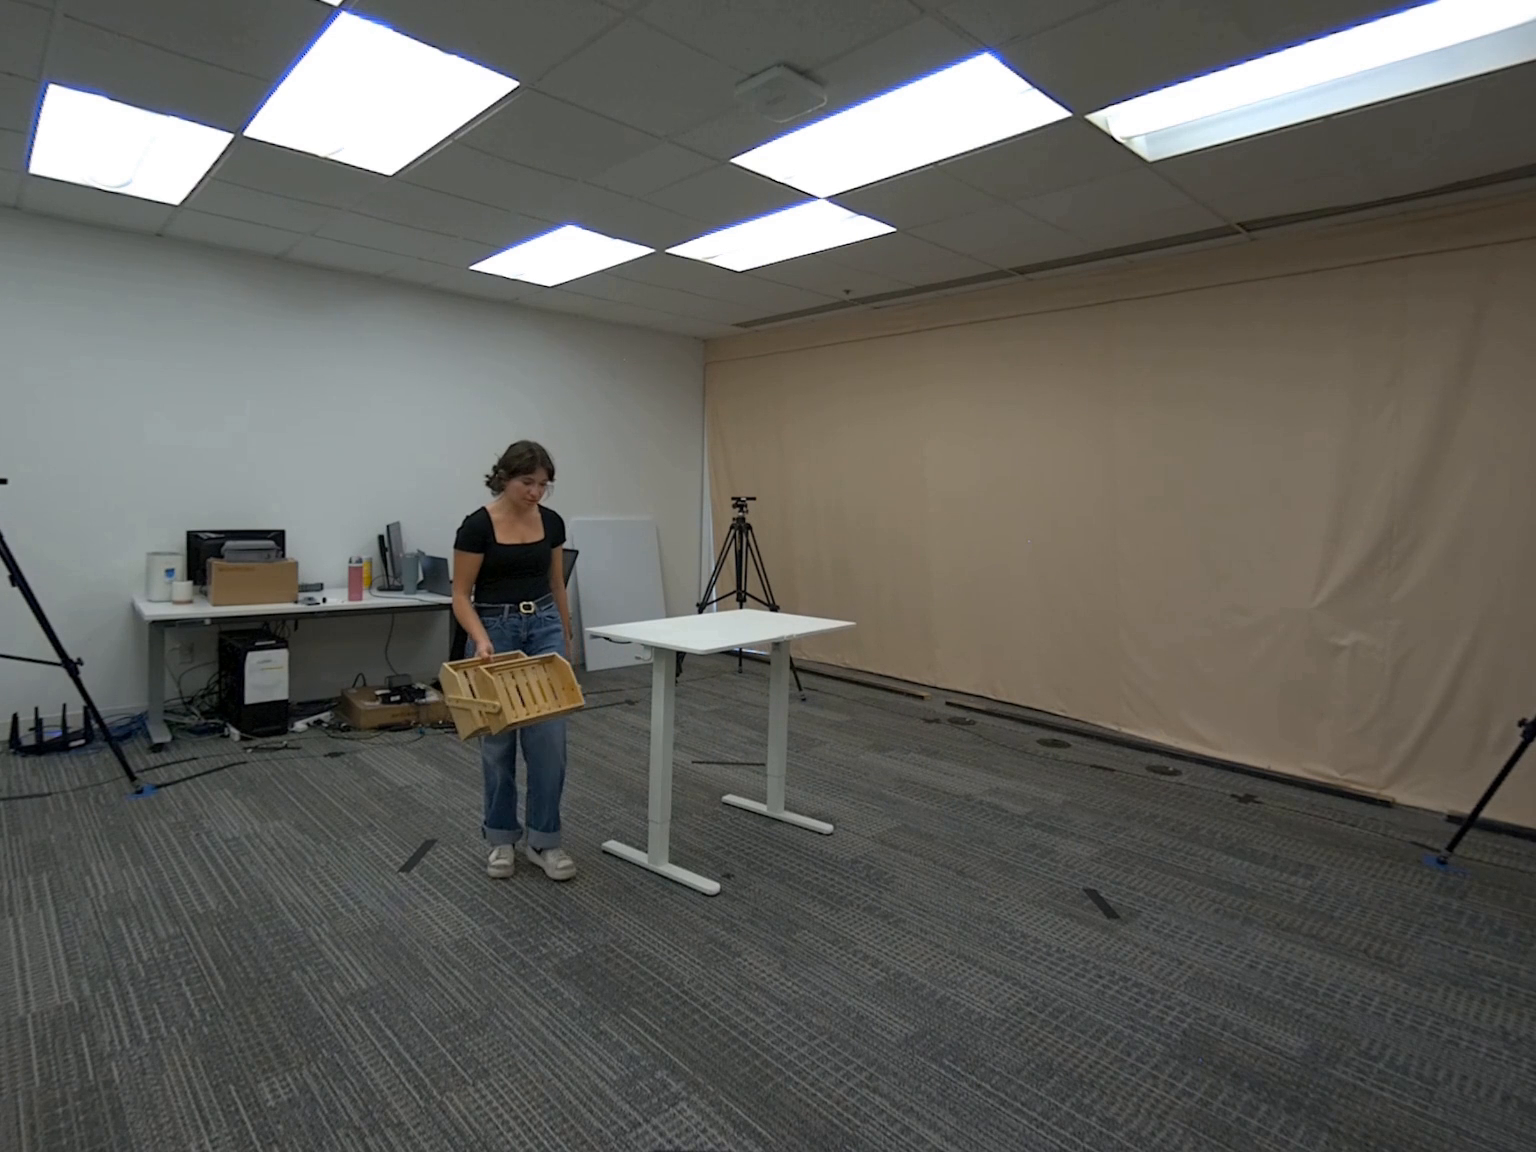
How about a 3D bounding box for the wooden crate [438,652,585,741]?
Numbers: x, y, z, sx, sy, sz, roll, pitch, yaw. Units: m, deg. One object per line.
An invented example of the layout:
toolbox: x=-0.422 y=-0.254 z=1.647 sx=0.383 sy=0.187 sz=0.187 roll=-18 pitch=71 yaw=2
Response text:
wooden crate: x=-0.835 y=0.355 z=2.719 sx=0.275 sy=0.307 sz=0.317 roll=-37 pitch=-19 yaw=34
